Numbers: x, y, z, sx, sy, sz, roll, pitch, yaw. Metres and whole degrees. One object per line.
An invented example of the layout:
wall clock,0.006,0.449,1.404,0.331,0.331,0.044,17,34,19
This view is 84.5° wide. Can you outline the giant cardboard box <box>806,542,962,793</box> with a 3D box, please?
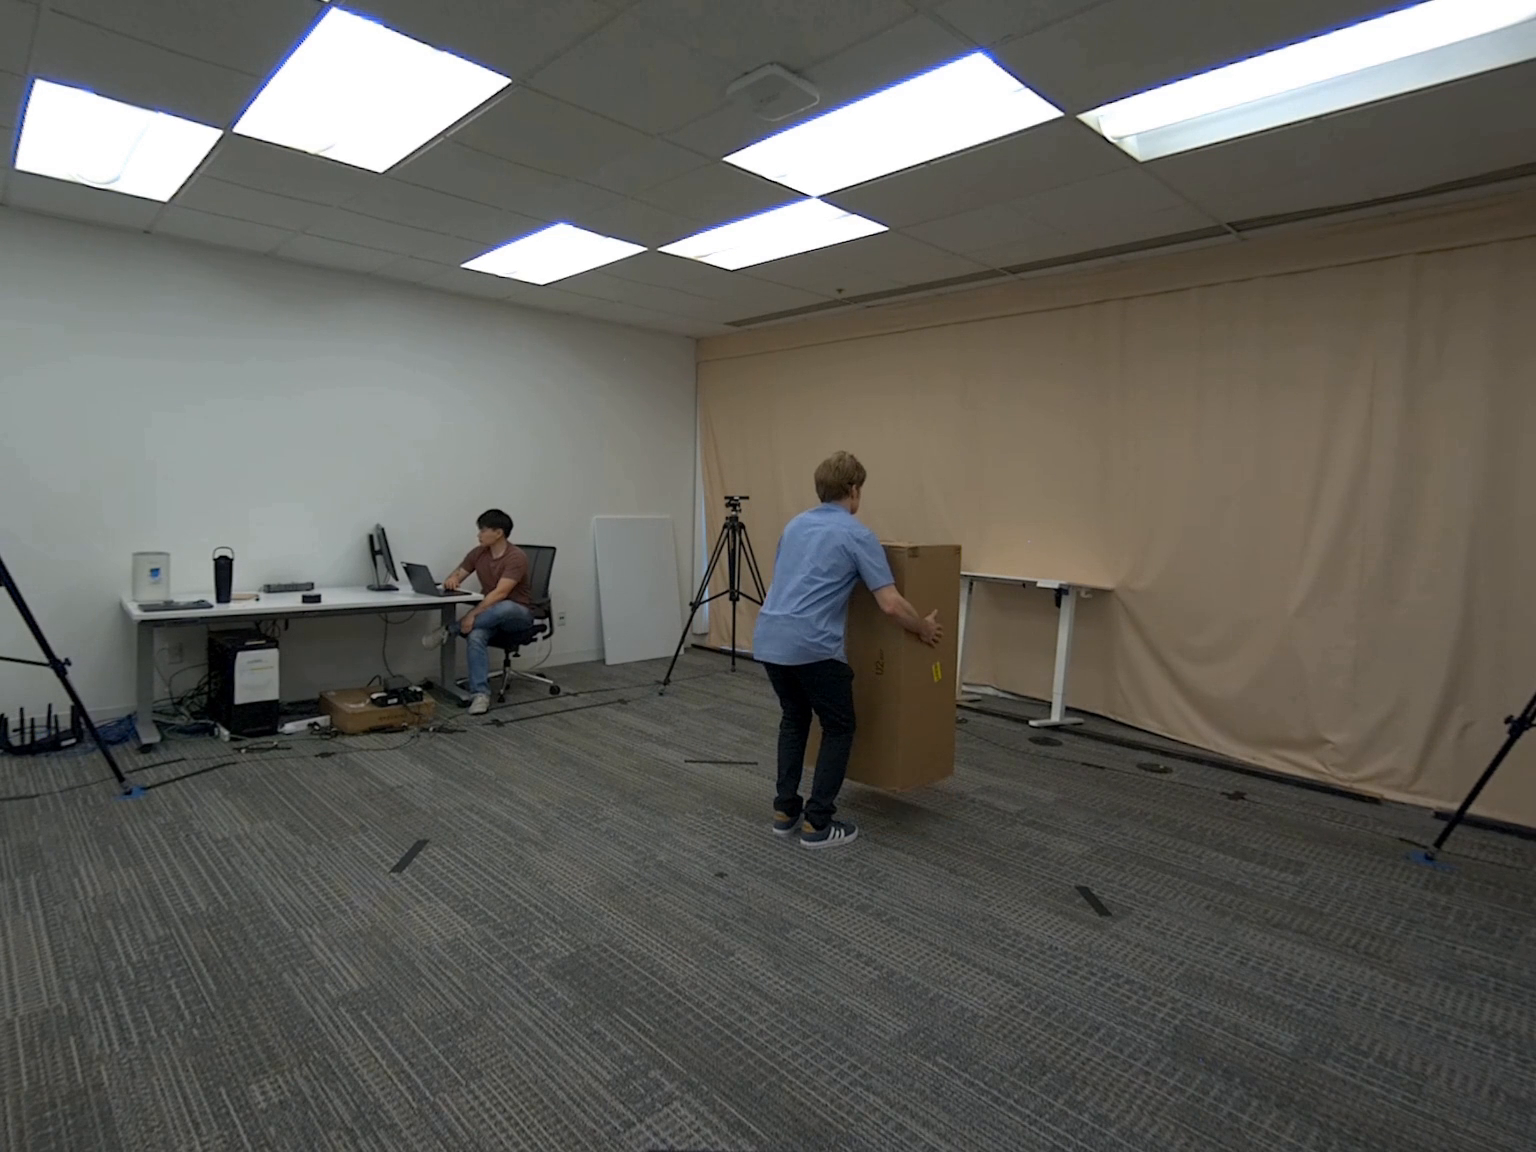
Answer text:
giant cardboard box,0.486,0.365,3.778,0.416,1.024,0.592,-1,3,-45
